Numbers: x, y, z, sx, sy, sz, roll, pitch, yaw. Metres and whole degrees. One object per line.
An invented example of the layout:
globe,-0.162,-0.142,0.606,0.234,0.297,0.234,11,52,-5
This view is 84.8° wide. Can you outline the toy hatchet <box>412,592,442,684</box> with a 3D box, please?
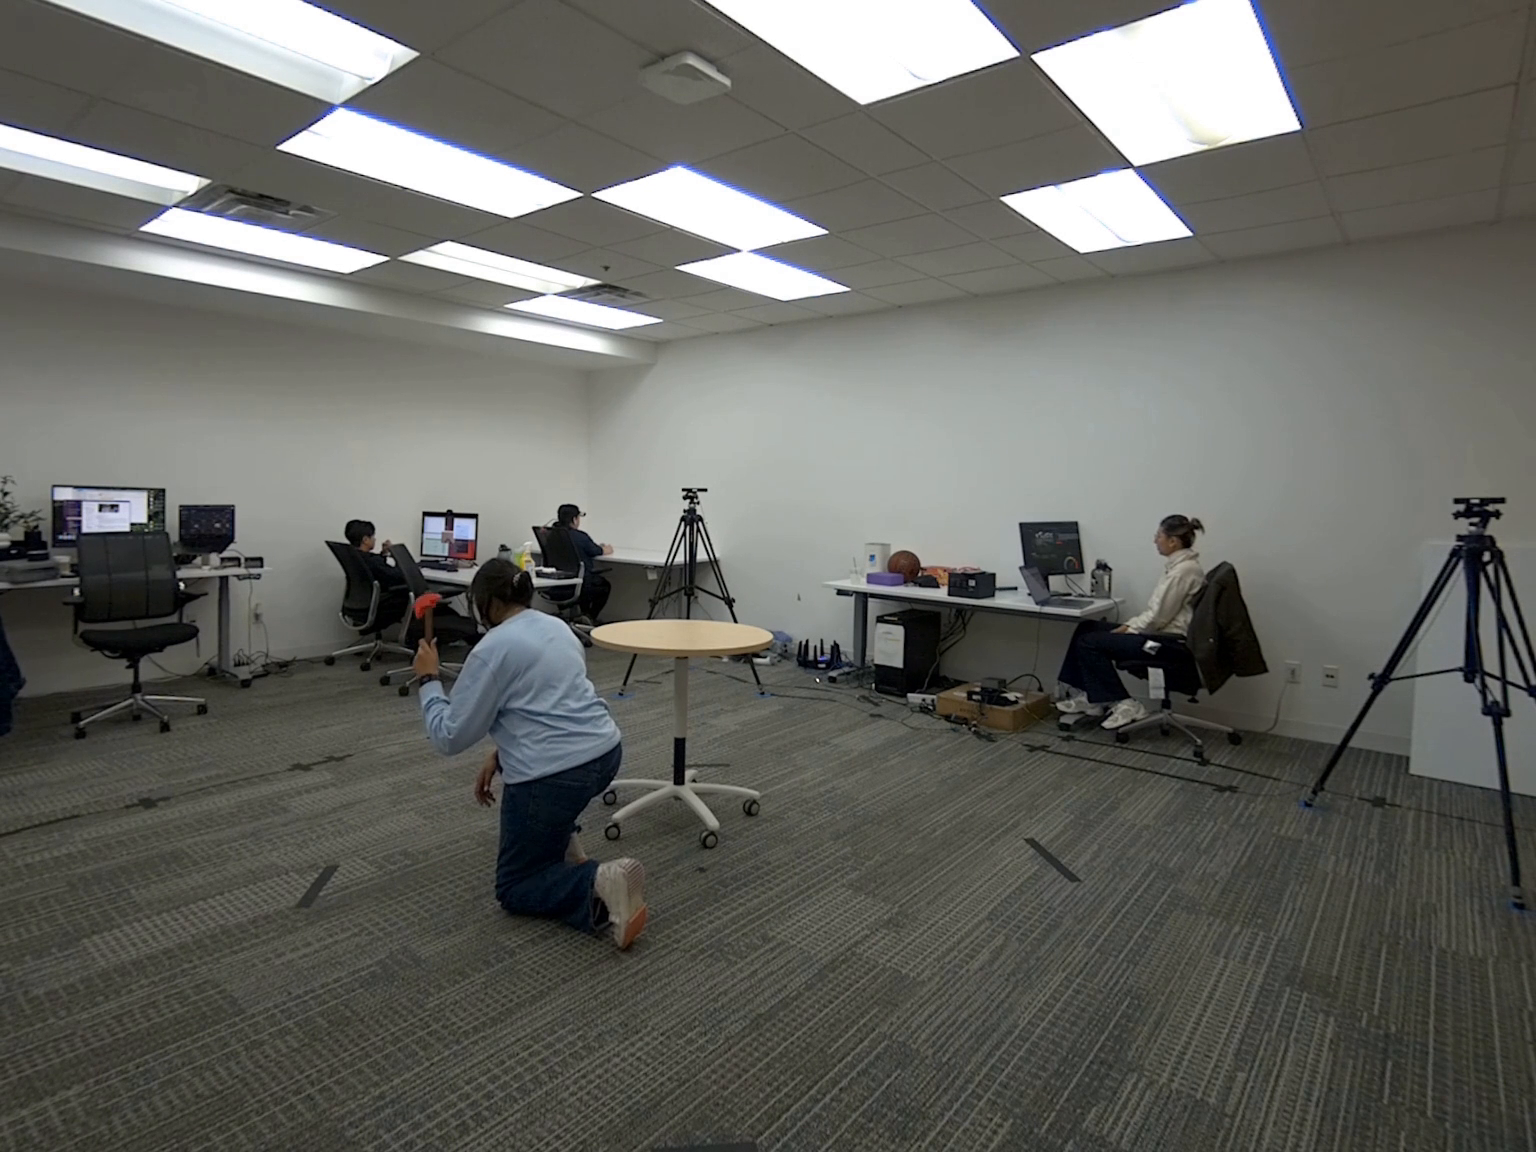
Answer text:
toy hatchet,-1.186,0.201,2.881,0.134,0.271,0.028,5,-7,25
